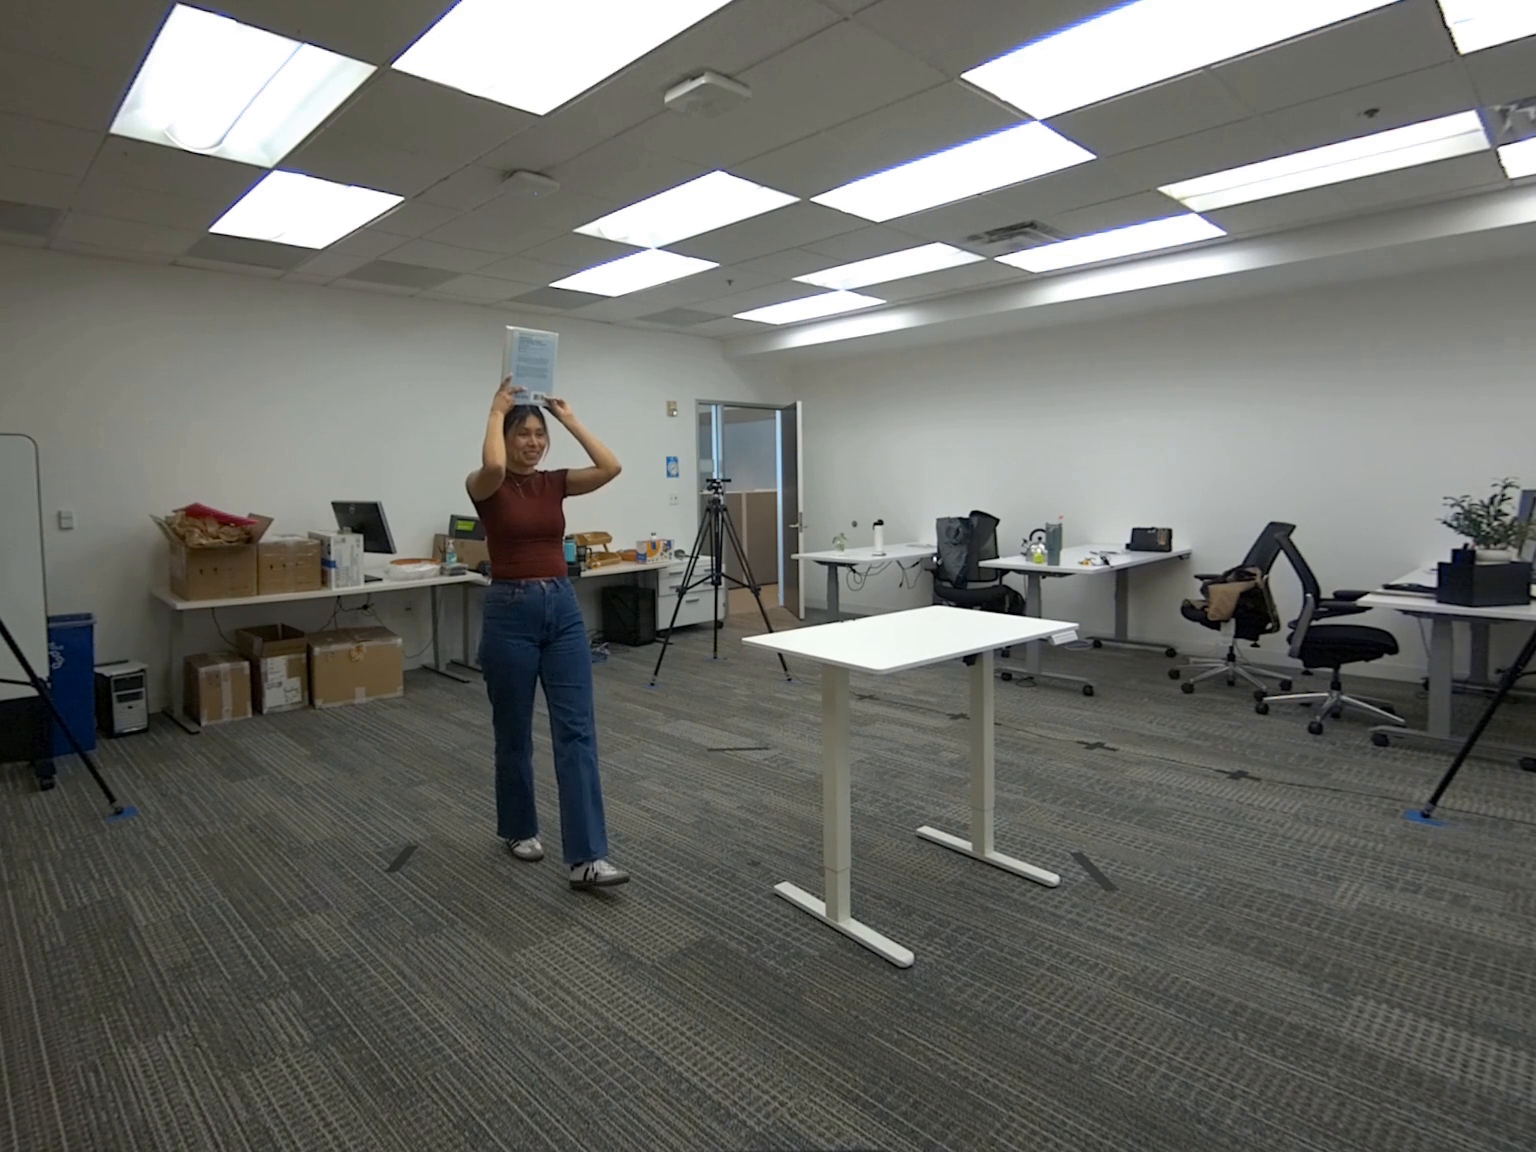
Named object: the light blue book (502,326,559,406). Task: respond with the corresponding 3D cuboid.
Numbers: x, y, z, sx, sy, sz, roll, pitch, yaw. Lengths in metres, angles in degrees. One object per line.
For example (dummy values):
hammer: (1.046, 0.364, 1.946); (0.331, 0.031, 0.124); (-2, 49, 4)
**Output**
light blue book: (-0.848, -0.741, 3.034); (0.061, 0.258, 0.186); (19, 16, 39)
